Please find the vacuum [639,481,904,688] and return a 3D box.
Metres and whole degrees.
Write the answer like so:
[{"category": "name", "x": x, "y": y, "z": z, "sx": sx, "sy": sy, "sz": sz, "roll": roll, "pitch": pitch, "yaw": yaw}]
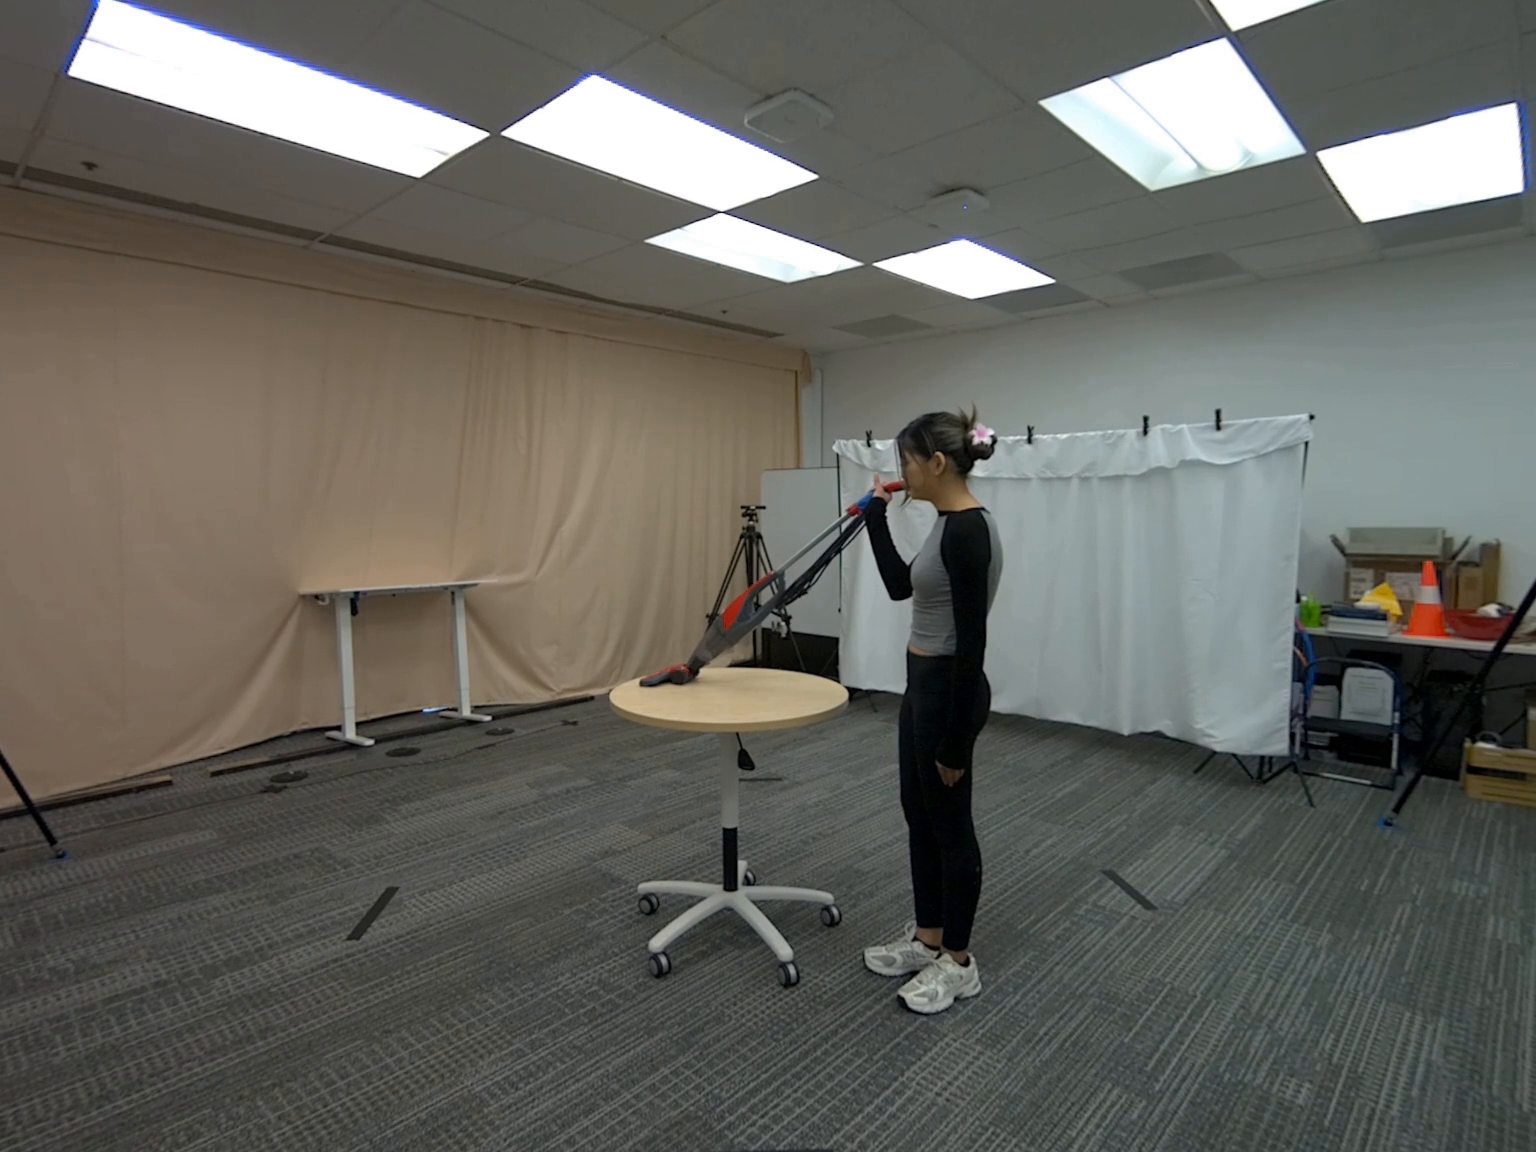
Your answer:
[{"category": "vacuum", "x": 0.034, "y": 0.039, "z": 2.733, "sx": 1.058, "sy": 0.145, "sz": 0.249, "roll": -39, "pitch": -5, "yaw": 19}]
